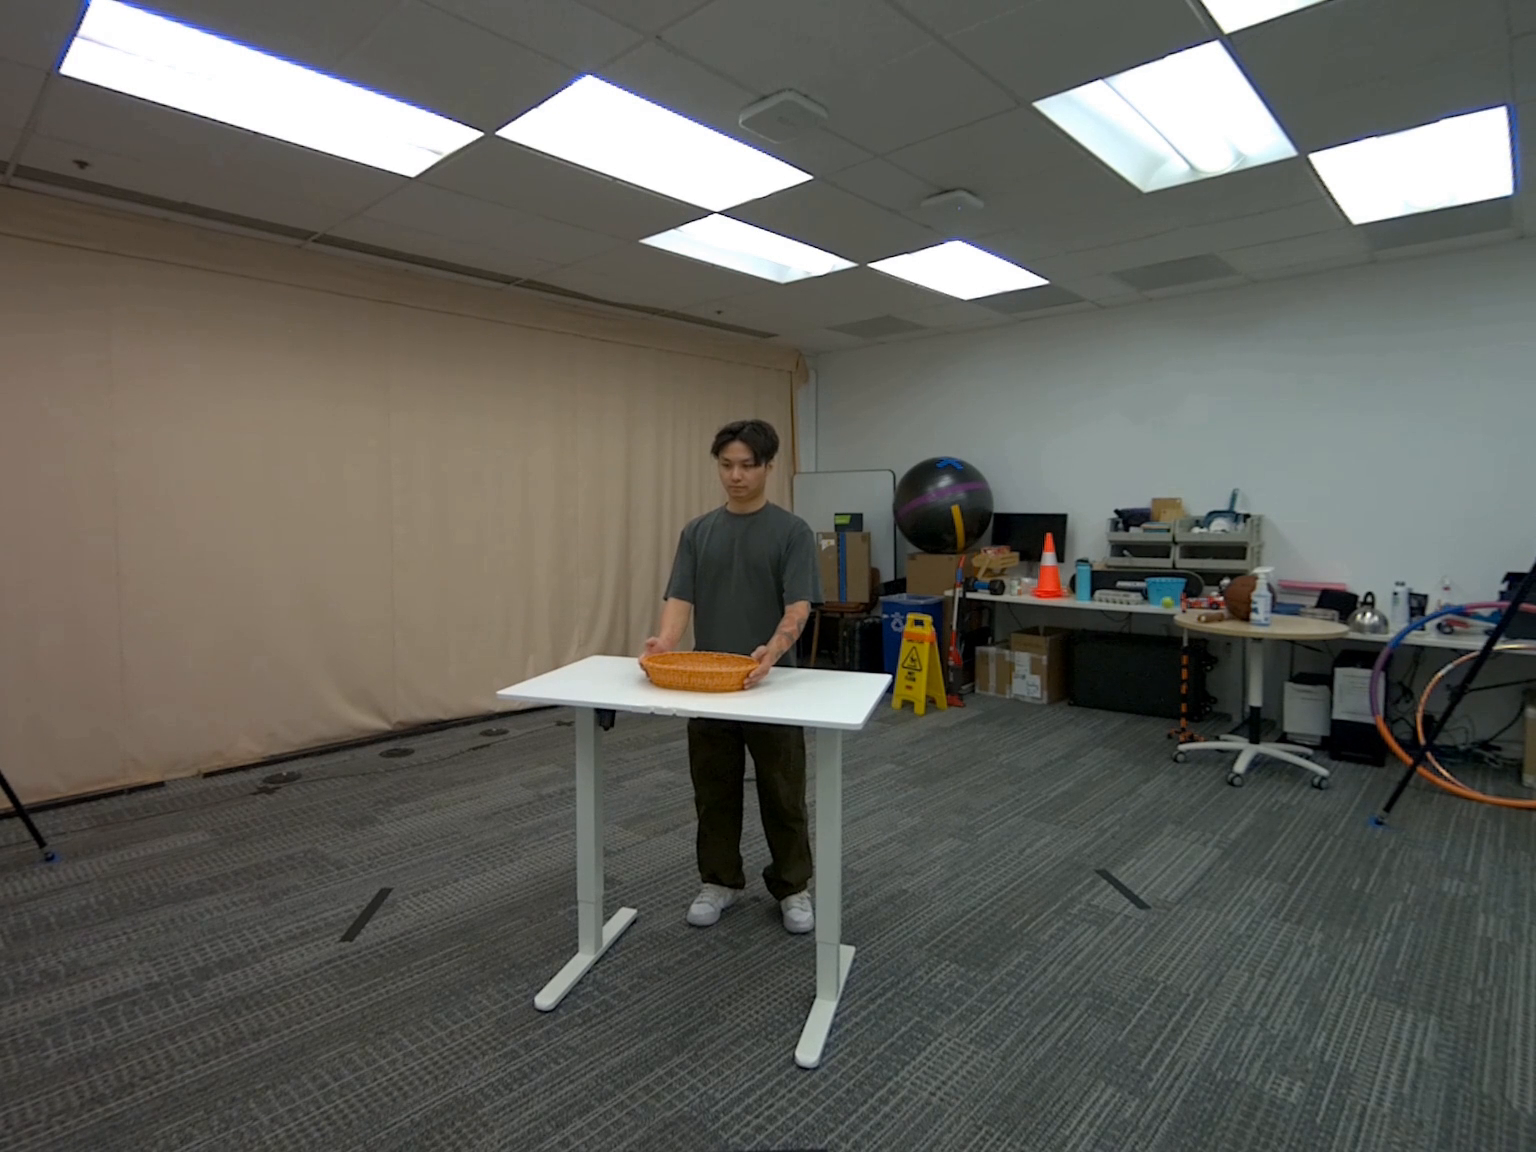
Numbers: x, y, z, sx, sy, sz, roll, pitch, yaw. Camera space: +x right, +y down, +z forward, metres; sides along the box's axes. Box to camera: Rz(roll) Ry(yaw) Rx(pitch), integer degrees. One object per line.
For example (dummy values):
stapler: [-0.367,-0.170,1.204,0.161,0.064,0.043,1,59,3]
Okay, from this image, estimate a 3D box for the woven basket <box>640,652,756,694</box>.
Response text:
woven basket: [-0.195,0.274,2.426,0.359,0.073,0.247,3,6,23]
